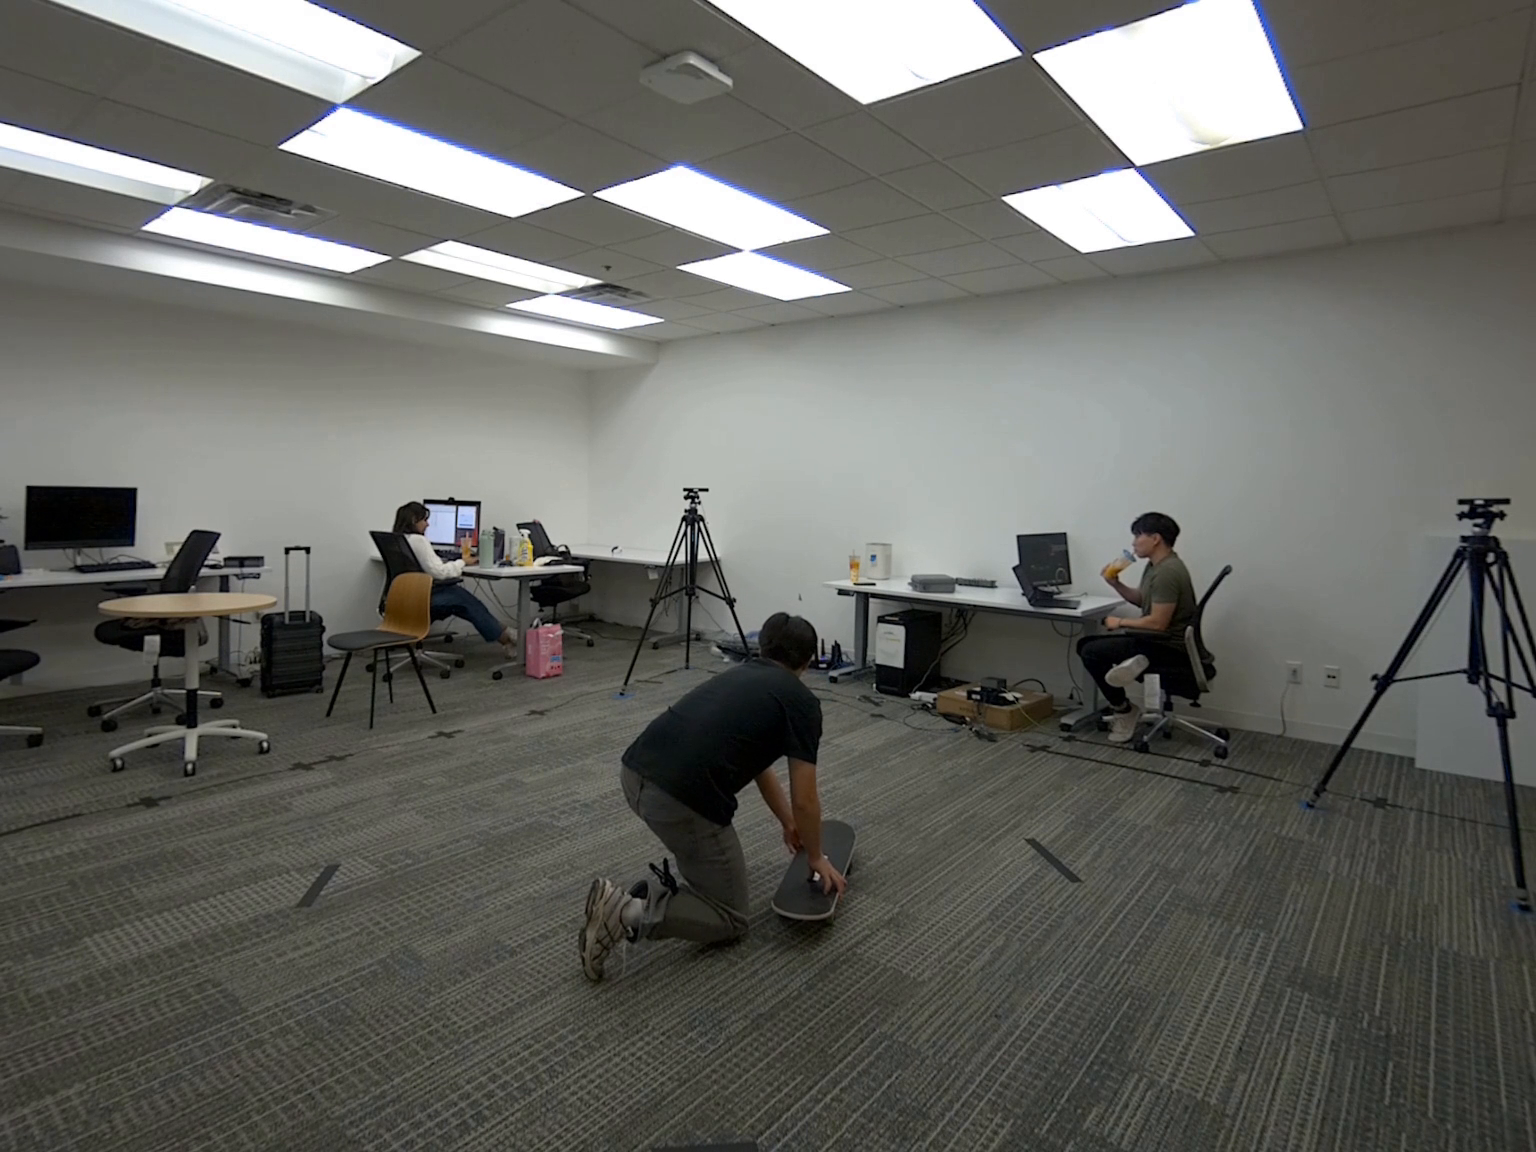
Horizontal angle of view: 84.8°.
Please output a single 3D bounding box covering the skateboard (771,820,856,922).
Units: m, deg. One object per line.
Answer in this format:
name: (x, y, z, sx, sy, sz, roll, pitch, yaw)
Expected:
skateboard: (0.165, 1.033, 2.946, 0.196, 0.110, 0.776, 2, 6, 13)
